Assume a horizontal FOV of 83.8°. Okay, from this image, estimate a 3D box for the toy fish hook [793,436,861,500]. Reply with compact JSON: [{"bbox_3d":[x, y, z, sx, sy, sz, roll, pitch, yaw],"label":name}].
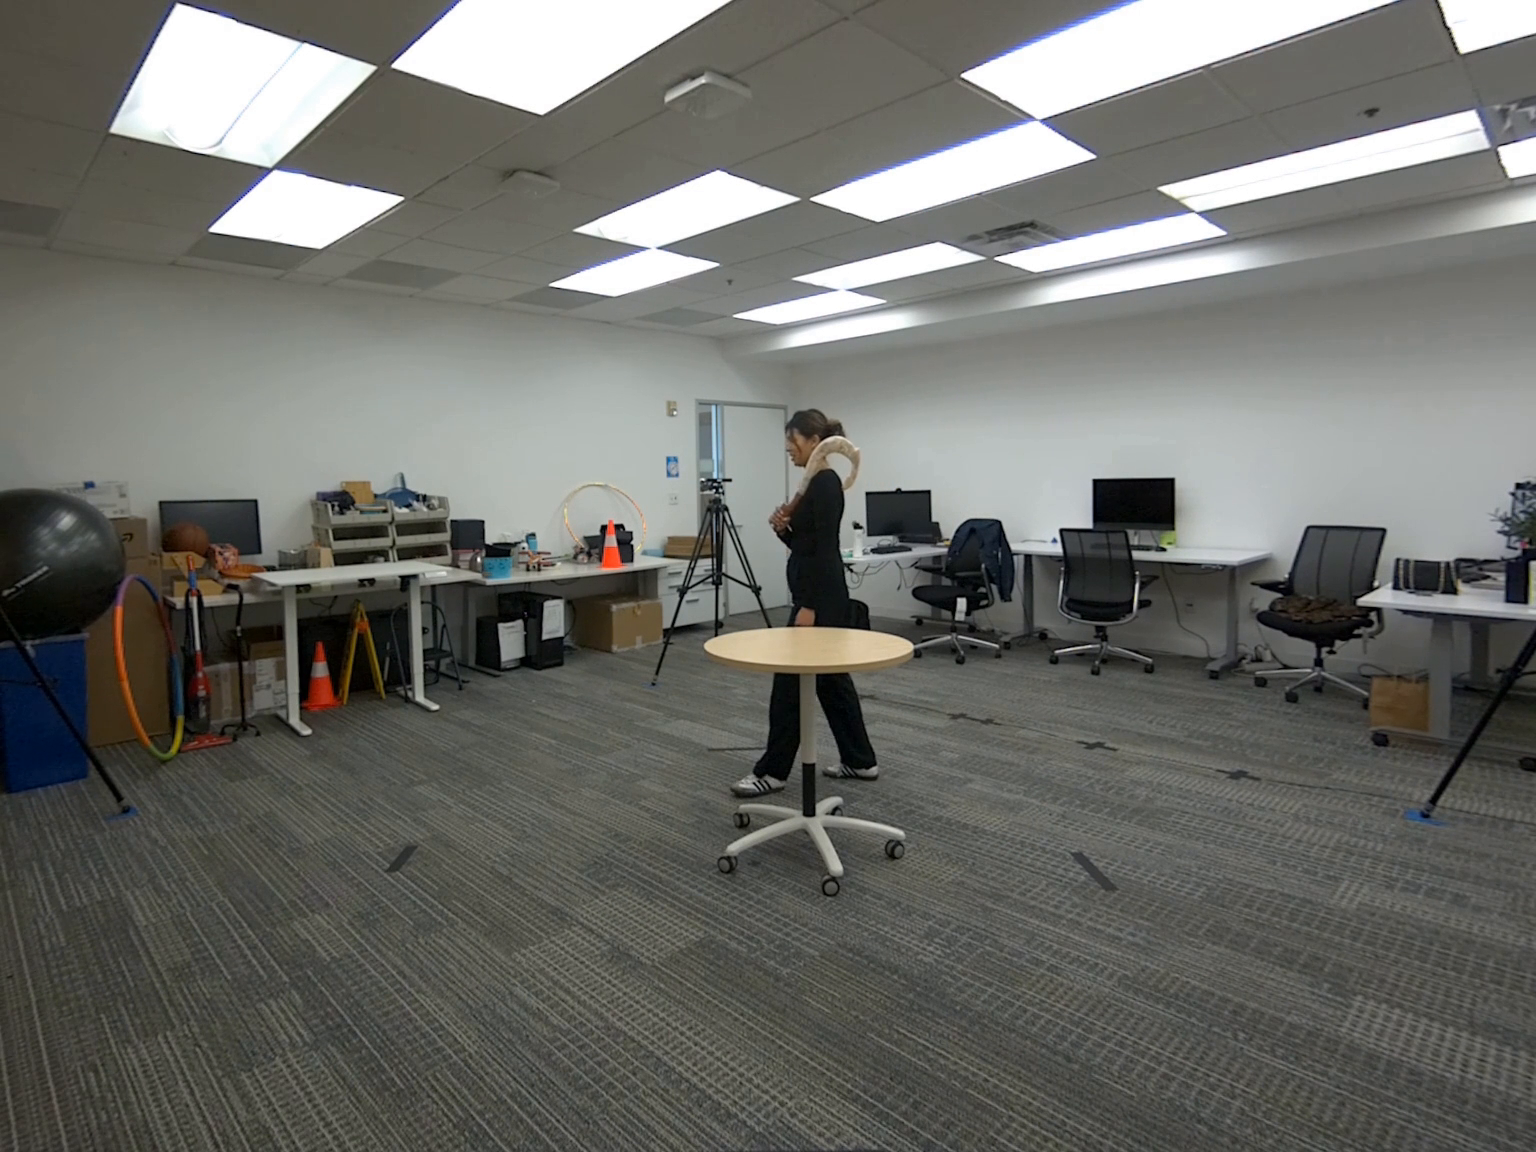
[{"bbox_3d":[0.221,-0.380,3.763,0.224,0.505,0.048,35,13,-1],"label":"toy fish hook"}]
